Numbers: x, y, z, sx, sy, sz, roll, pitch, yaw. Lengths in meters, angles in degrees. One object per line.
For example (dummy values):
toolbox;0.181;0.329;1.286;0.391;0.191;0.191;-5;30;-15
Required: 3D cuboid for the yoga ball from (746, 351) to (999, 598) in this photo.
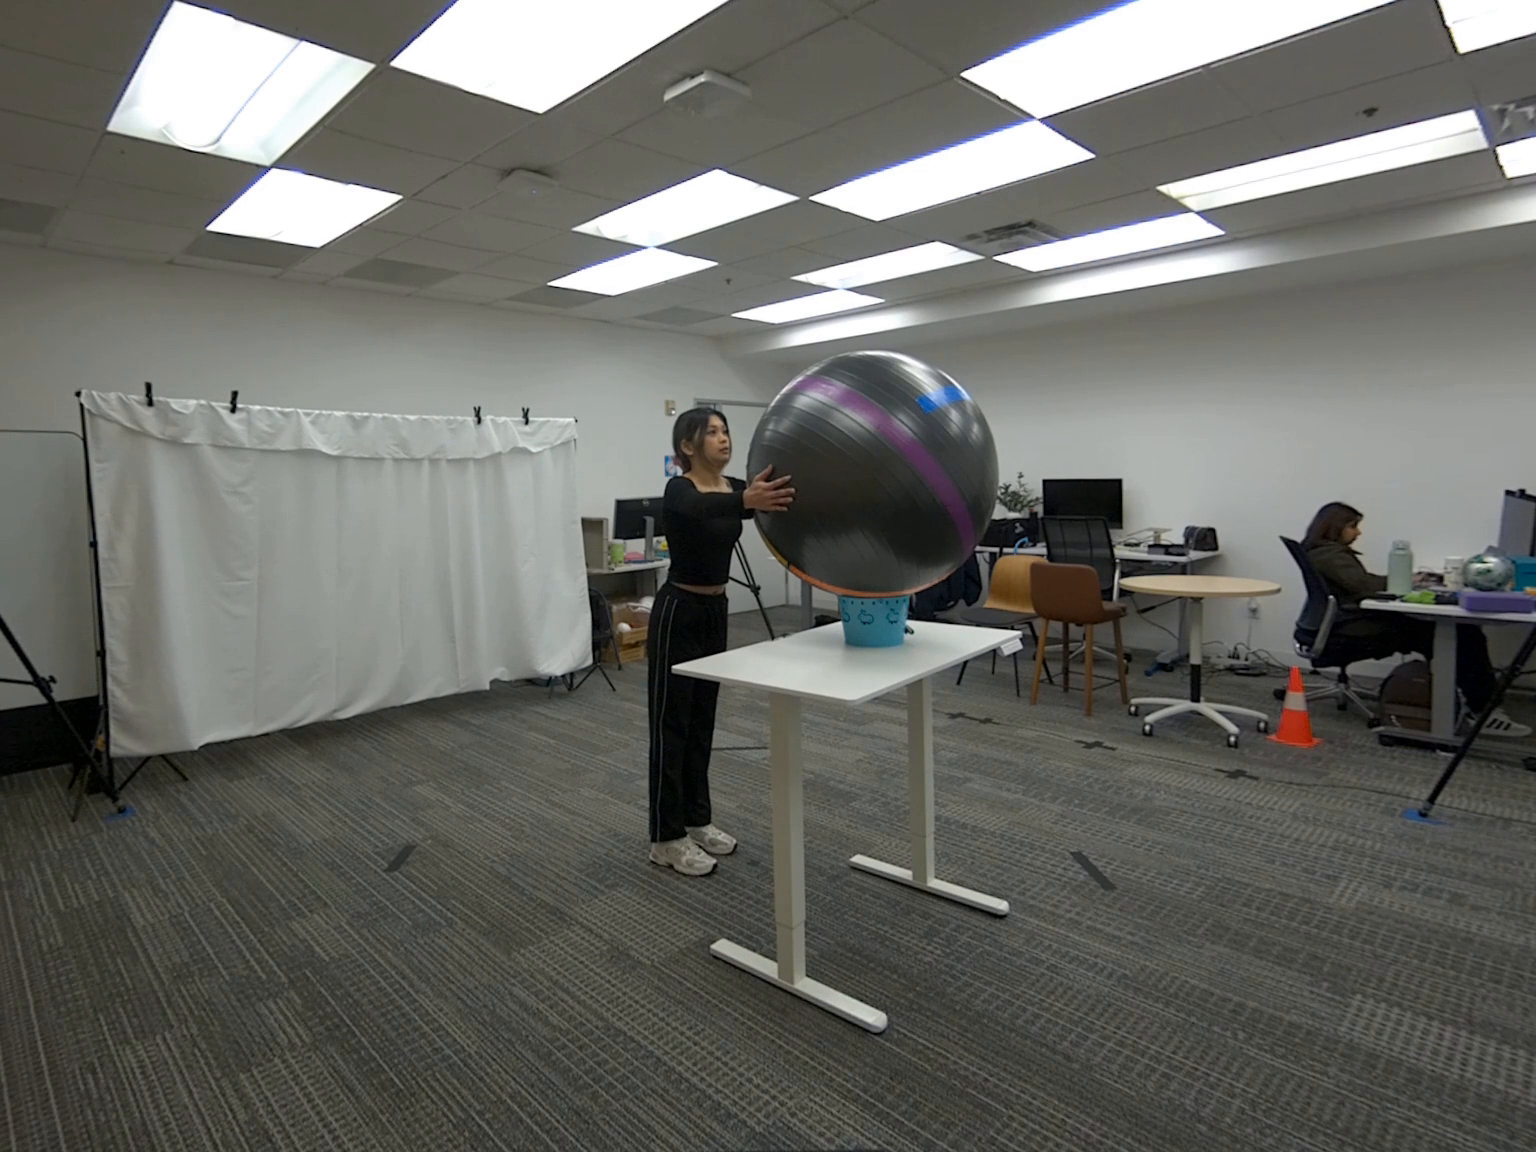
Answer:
yoga ball;0.317;-0.298;2.609;0.757;0.755;0.762;-1;5;-2
